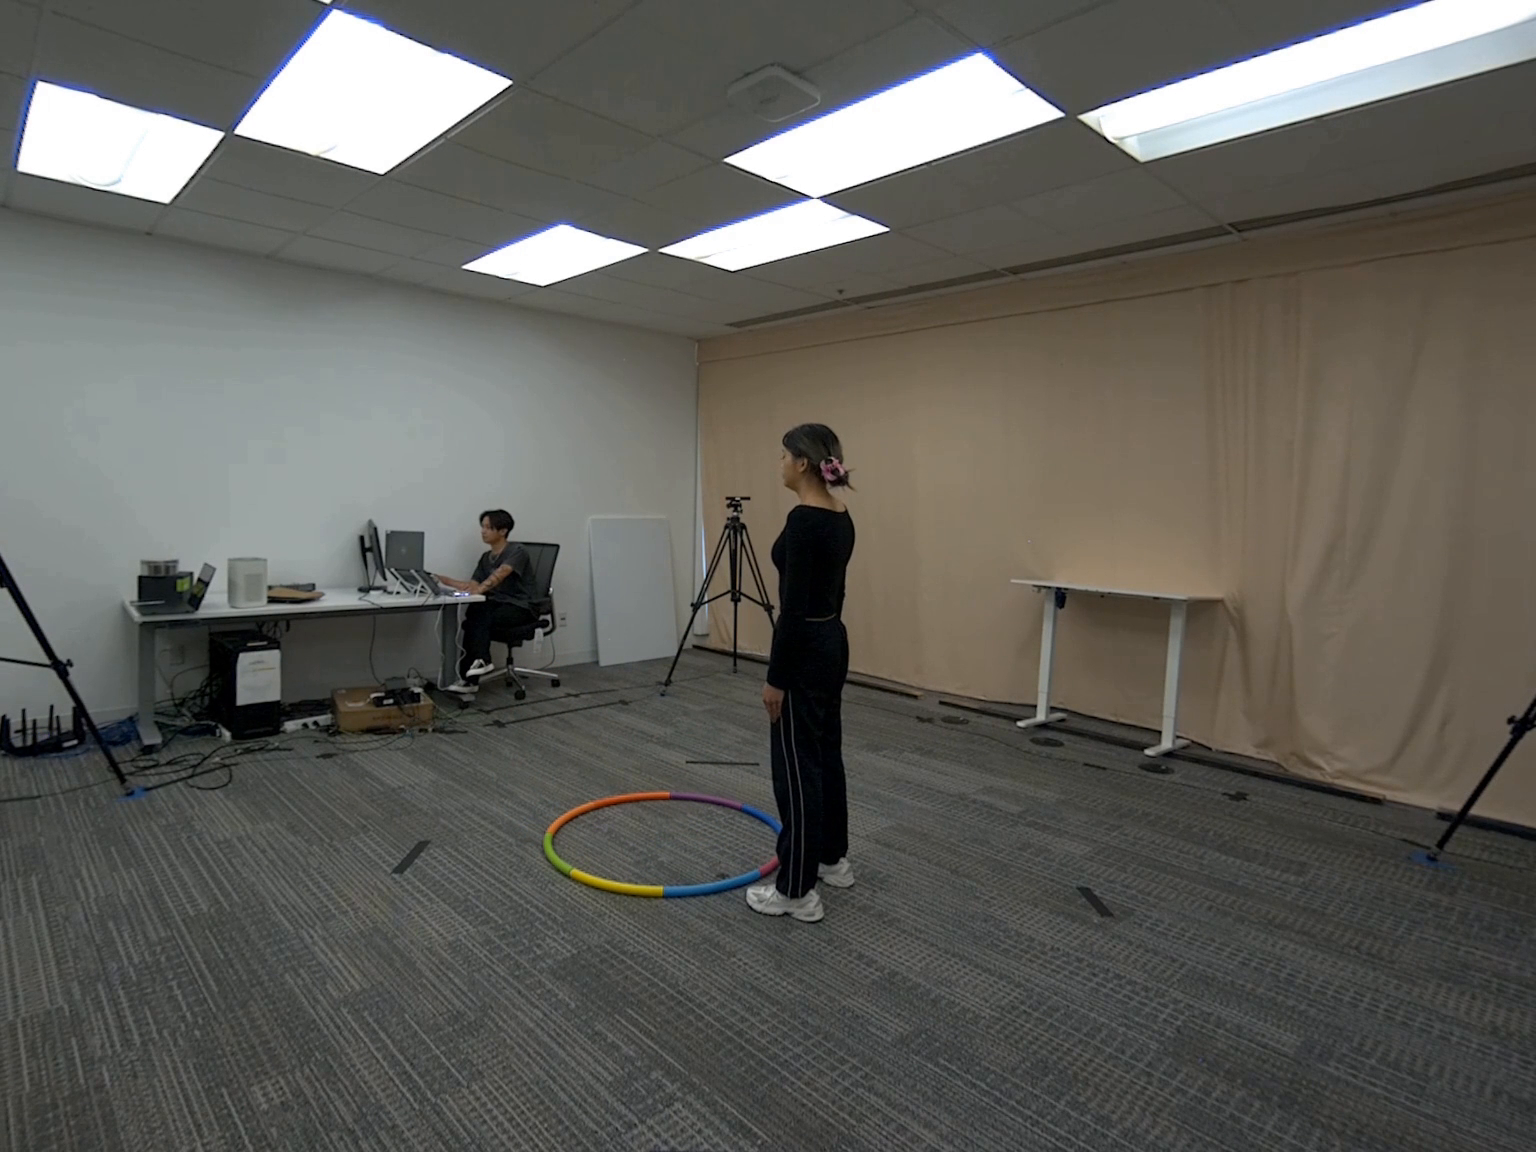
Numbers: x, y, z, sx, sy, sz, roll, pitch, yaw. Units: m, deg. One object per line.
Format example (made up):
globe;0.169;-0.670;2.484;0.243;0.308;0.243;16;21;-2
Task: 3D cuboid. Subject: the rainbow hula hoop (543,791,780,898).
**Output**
rainbow hula hoop;-0.414;1.045;3.407;0.978;0.035;0.982;2;5;-1
